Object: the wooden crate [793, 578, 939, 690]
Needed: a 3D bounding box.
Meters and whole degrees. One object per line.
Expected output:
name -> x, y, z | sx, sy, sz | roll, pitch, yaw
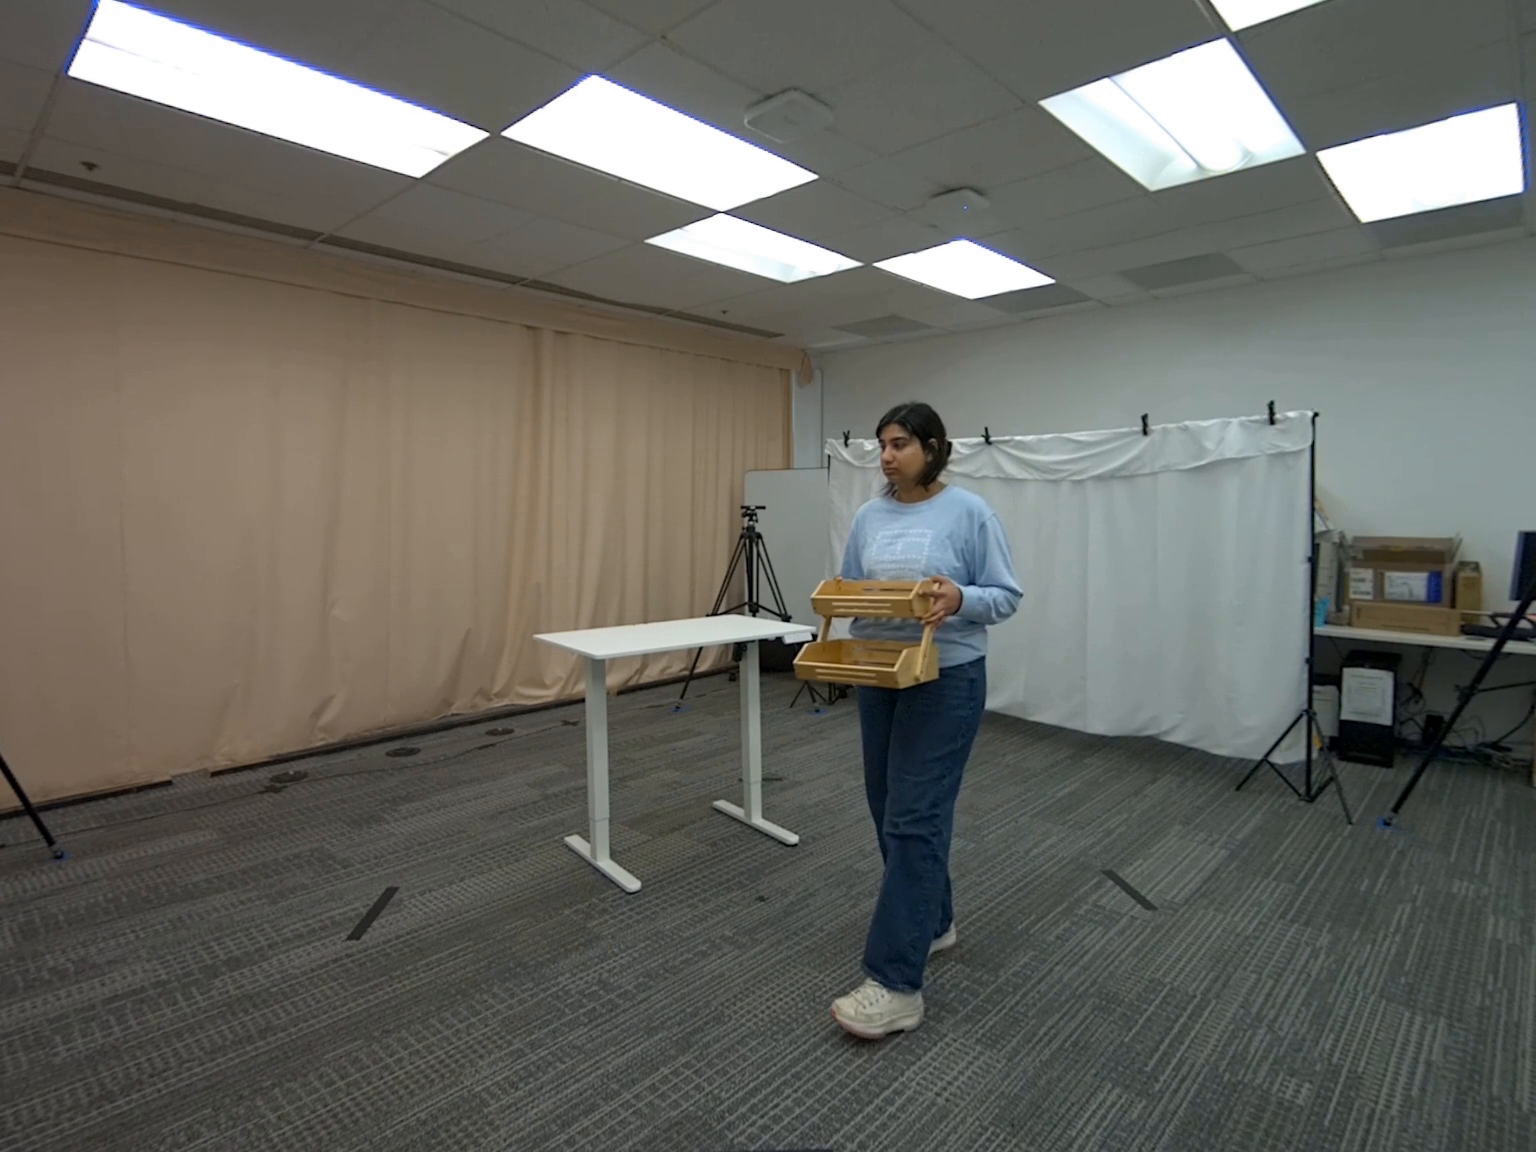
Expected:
wooden crate -> 0.274, 0.140, 2.270 | 0.334, 0.273, 0.292 | 0, -1, 36
